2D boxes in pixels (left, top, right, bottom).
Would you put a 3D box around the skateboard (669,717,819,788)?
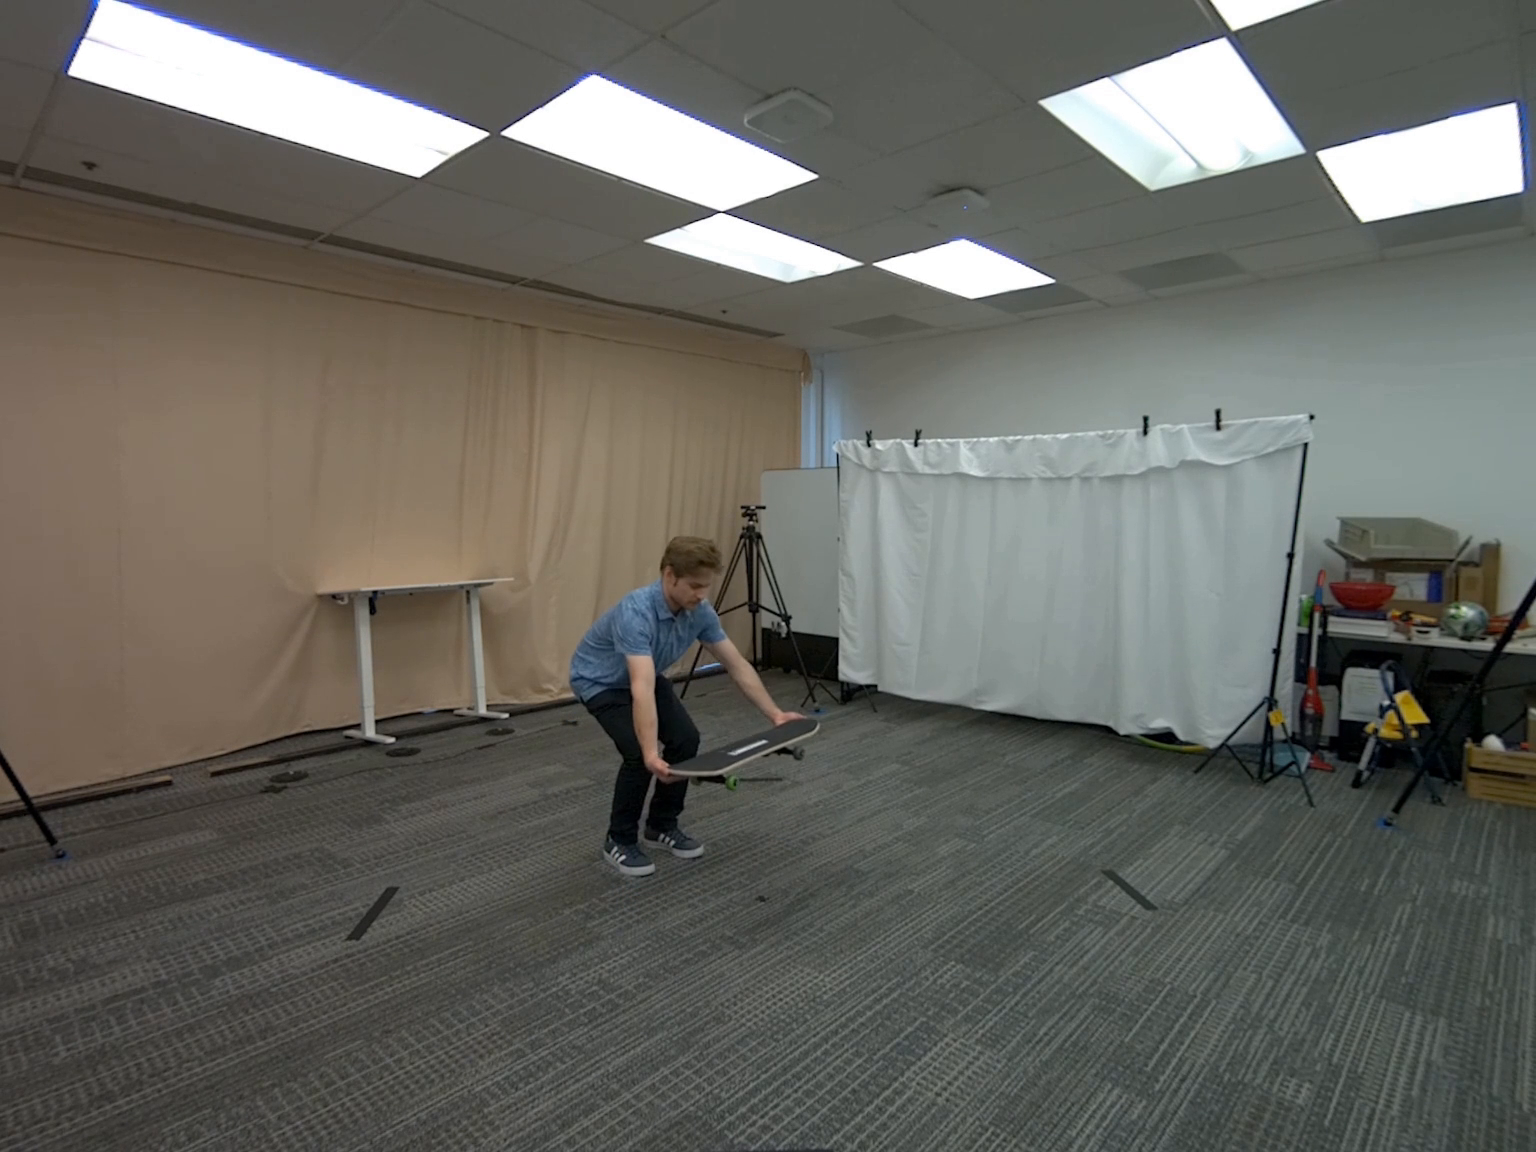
[{"bbox_3d":[-0.075,0.641,2.999,0.199,0.110,0.763,-5,2,37],"label":"skateboard"}]
